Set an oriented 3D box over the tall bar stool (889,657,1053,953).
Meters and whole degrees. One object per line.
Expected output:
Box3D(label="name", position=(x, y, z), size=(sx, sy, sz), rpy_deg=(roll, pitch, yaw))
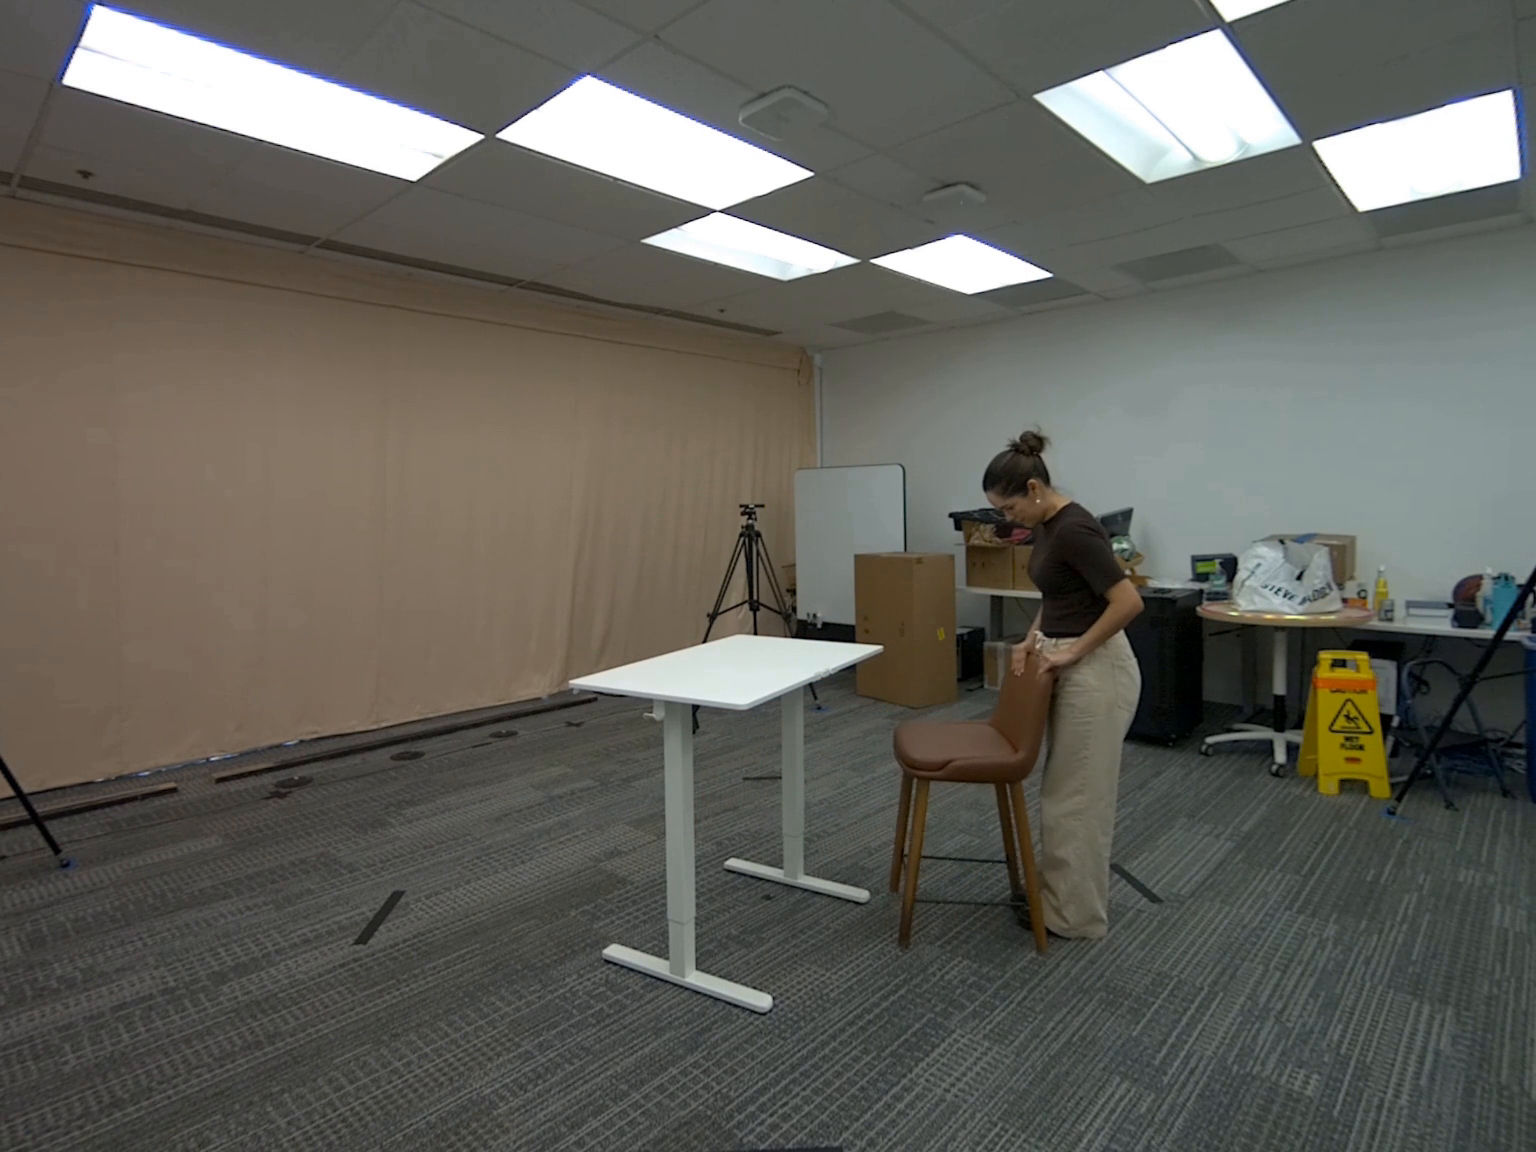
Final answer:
Box3D(label="tall bar stool", position=(0.661, 0.711, 2.766), size=(0.471, 0.887, 0.454), rpy_deg=(3, 4, 6))
